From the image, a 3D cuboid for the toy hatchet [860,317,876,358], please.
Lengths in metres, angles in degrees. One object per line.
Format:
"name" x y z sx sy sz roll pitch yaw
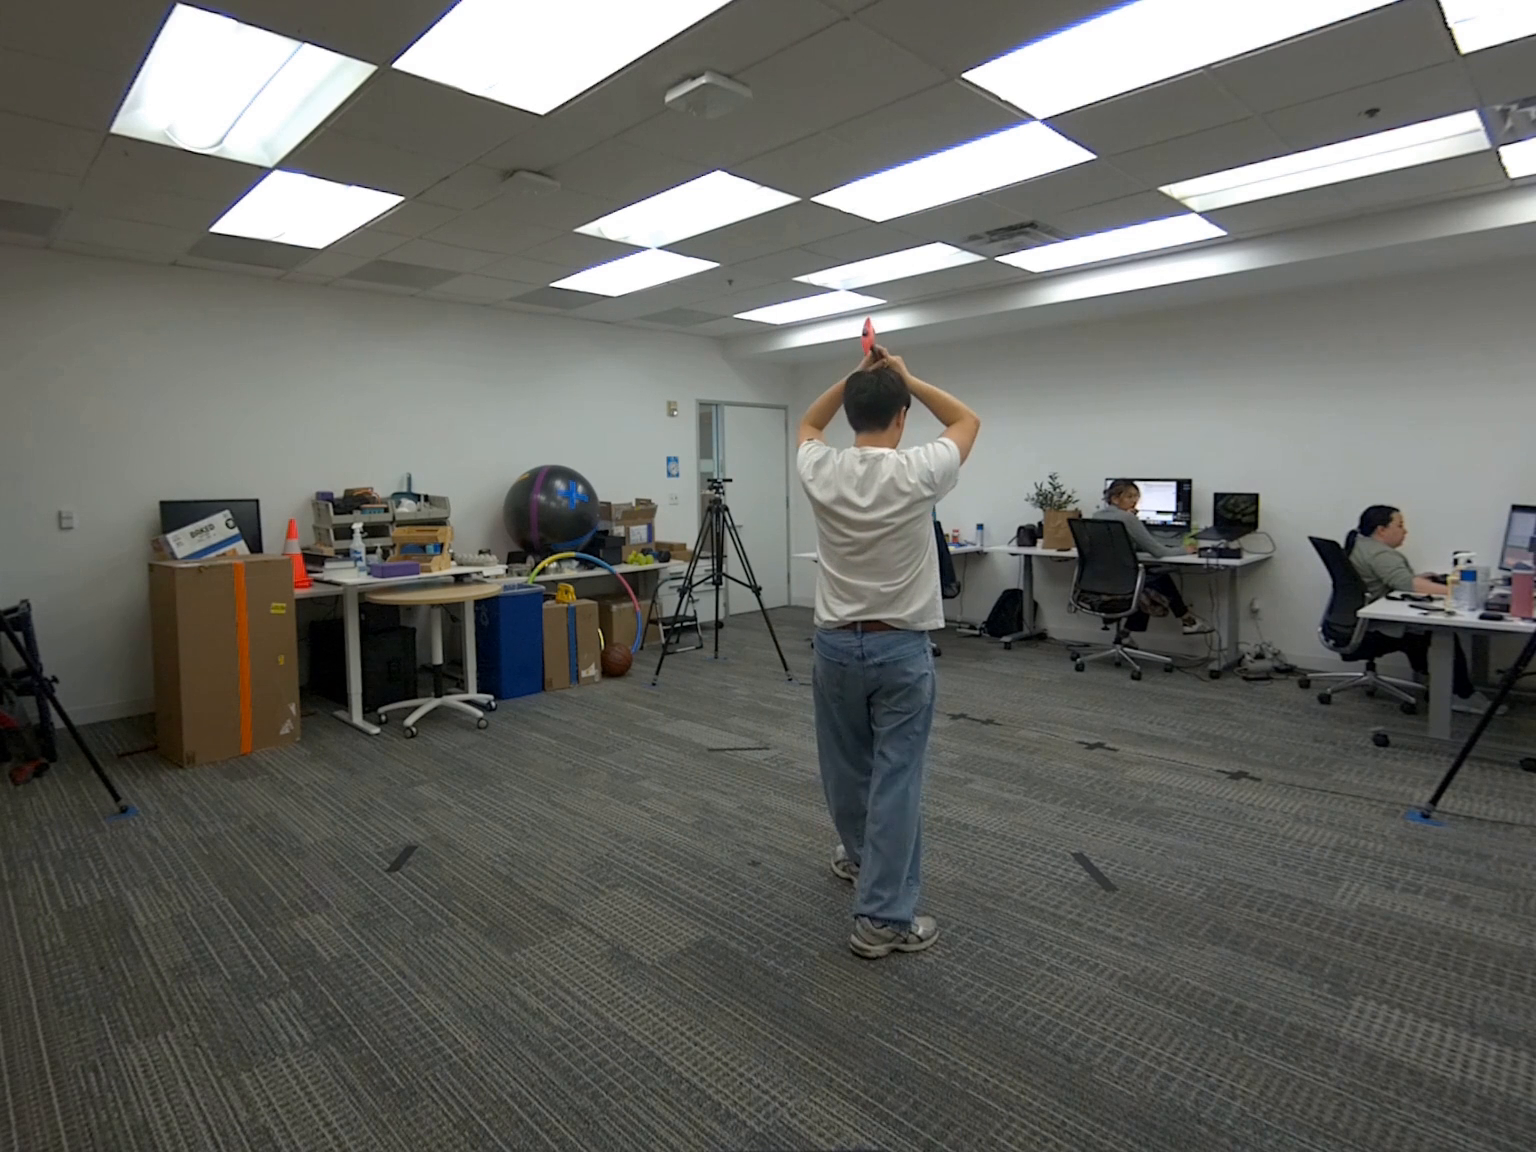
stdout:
"toy hatchet" 0.350 -0.737 2.697 0.030 0.132 0.262 -9 -7 31
